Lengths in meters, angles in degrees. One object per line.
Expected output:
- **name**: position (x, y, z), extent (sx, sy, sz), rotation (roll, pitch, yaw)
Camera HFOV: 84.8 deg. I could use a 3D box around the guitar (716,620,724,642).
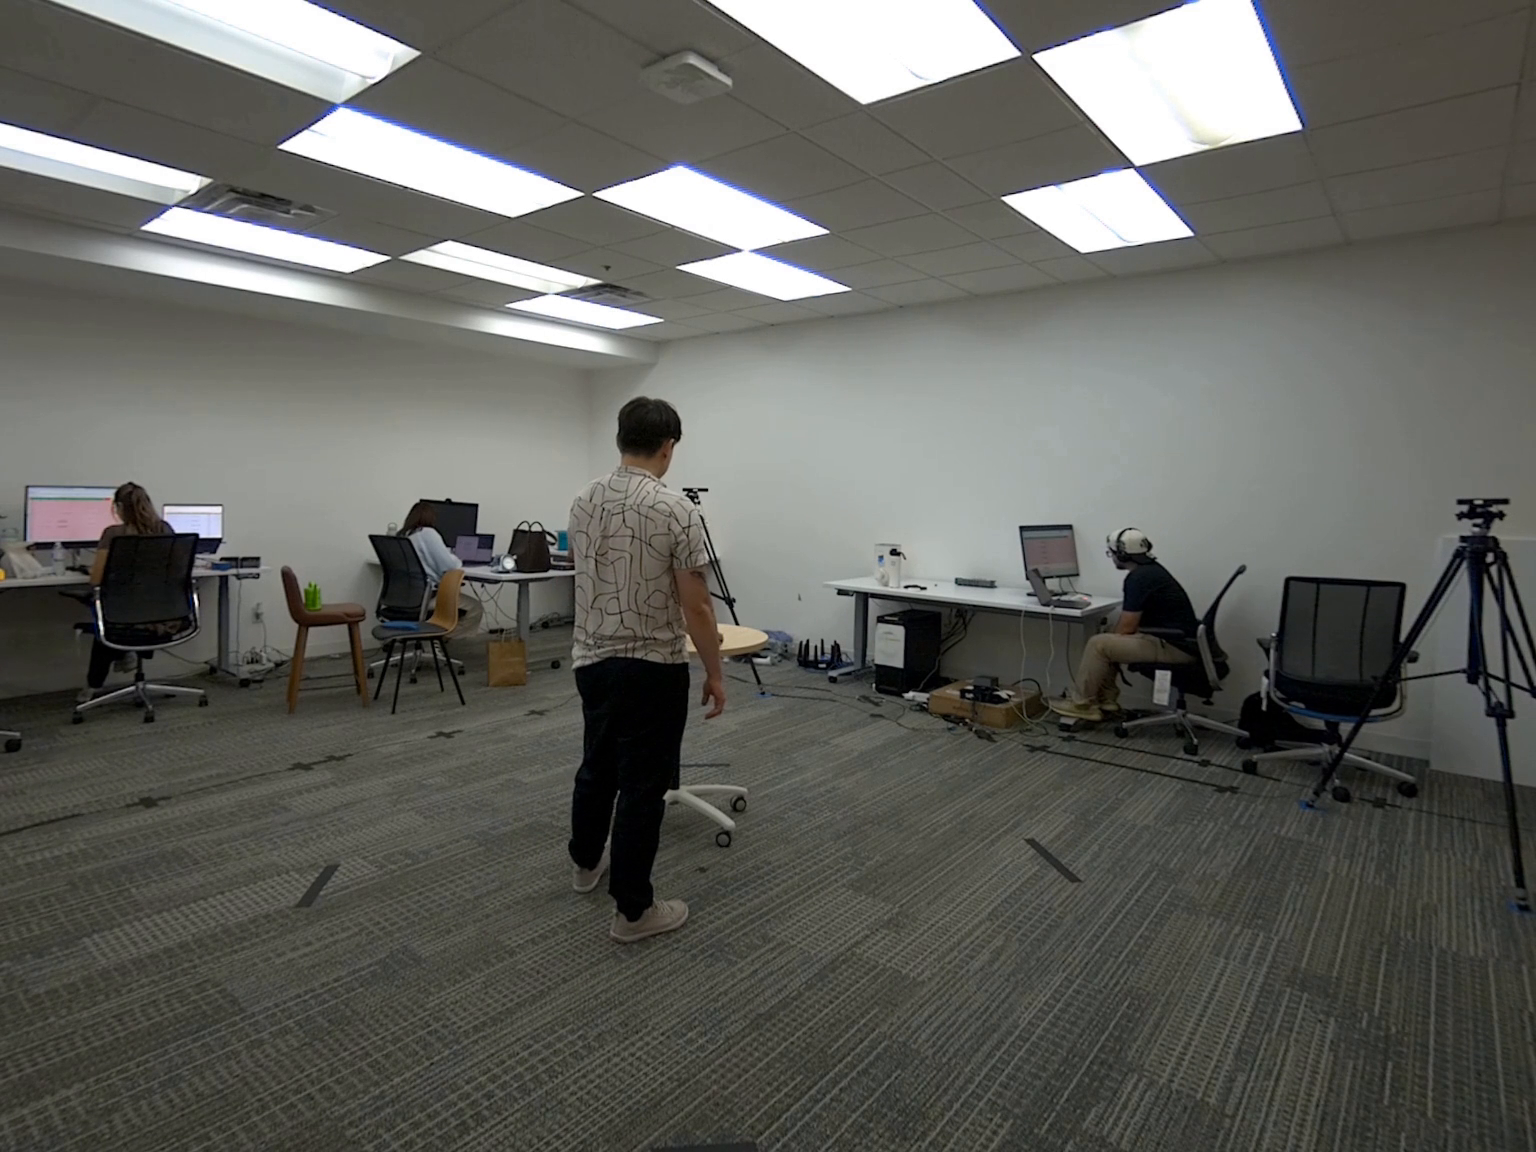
- **guitar**: position (-0.390, 0.209, 3.409), extent (0.516, 0.191, 0.069), rotation (25, 15, 31)
